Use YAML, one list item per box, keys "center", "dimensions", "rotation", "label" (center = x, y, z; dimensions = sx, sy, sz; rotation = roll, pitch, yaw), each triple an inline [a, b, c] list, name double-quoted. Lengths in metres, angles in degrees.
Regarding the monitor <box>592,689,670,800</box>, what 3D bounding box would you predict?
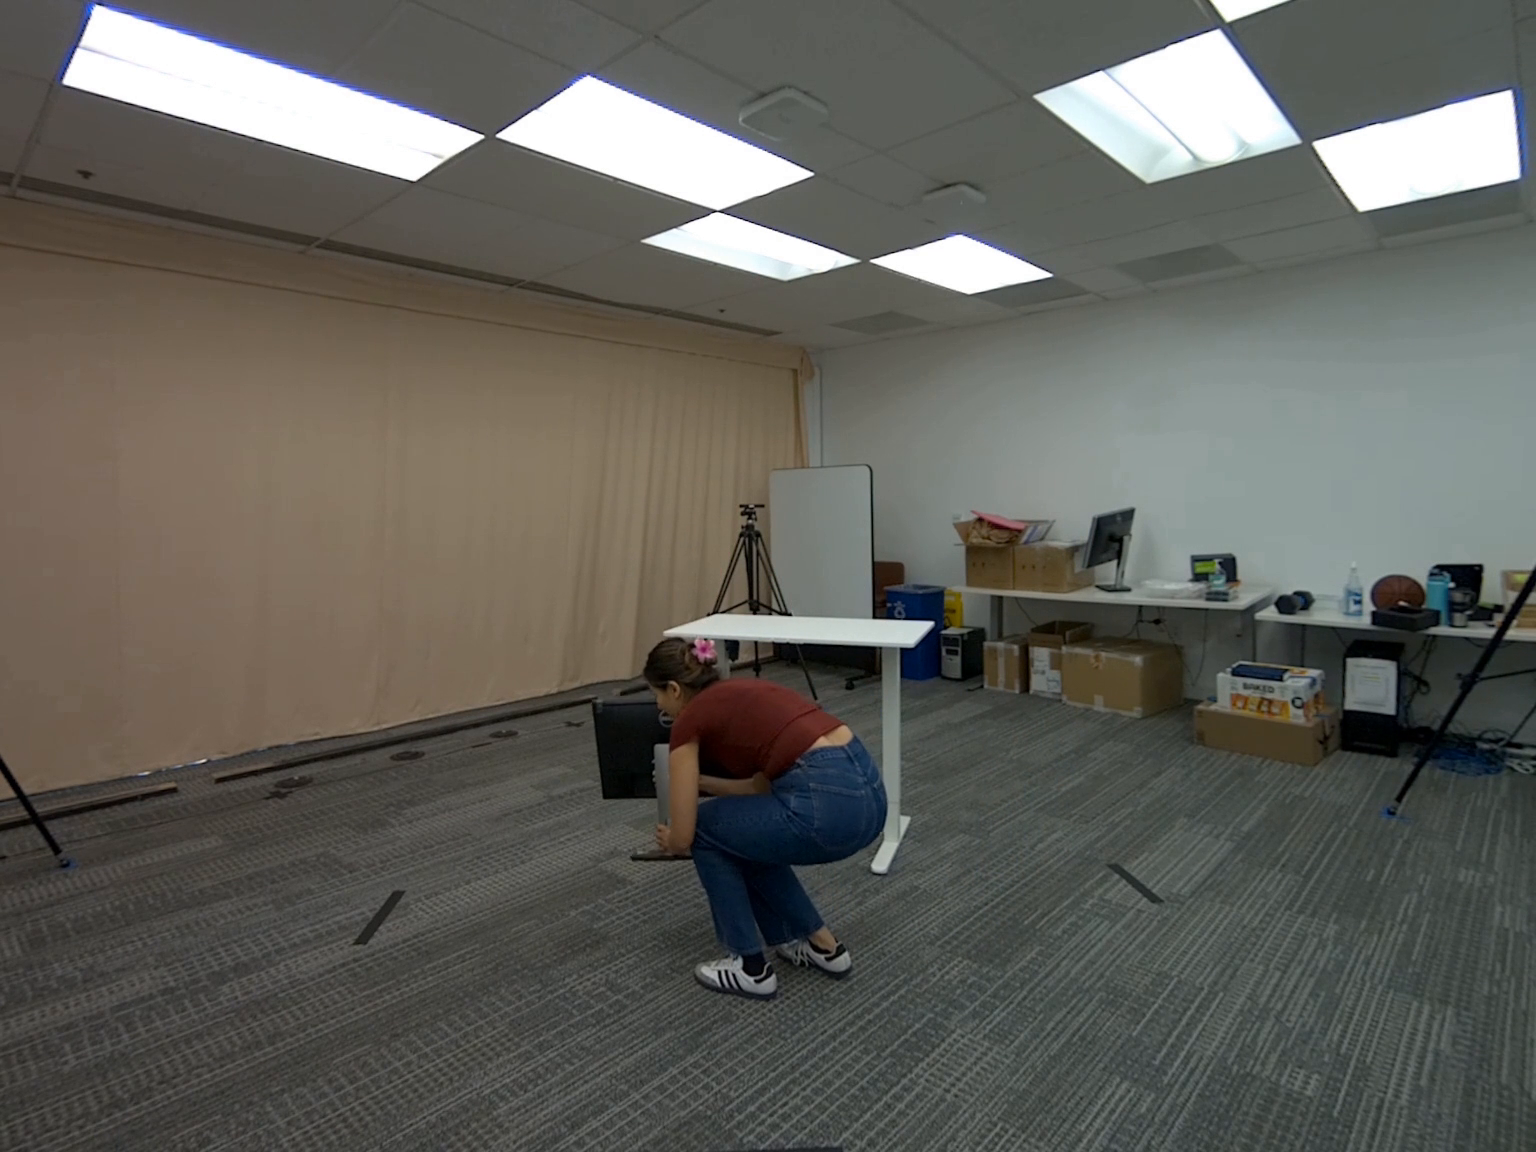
- center: [-0.326, 0.664, 2.785]
  dimensions: [0.544, 0.525, 0.184]
  rotation: [-4, -8, 9]
  label: "monitor"
